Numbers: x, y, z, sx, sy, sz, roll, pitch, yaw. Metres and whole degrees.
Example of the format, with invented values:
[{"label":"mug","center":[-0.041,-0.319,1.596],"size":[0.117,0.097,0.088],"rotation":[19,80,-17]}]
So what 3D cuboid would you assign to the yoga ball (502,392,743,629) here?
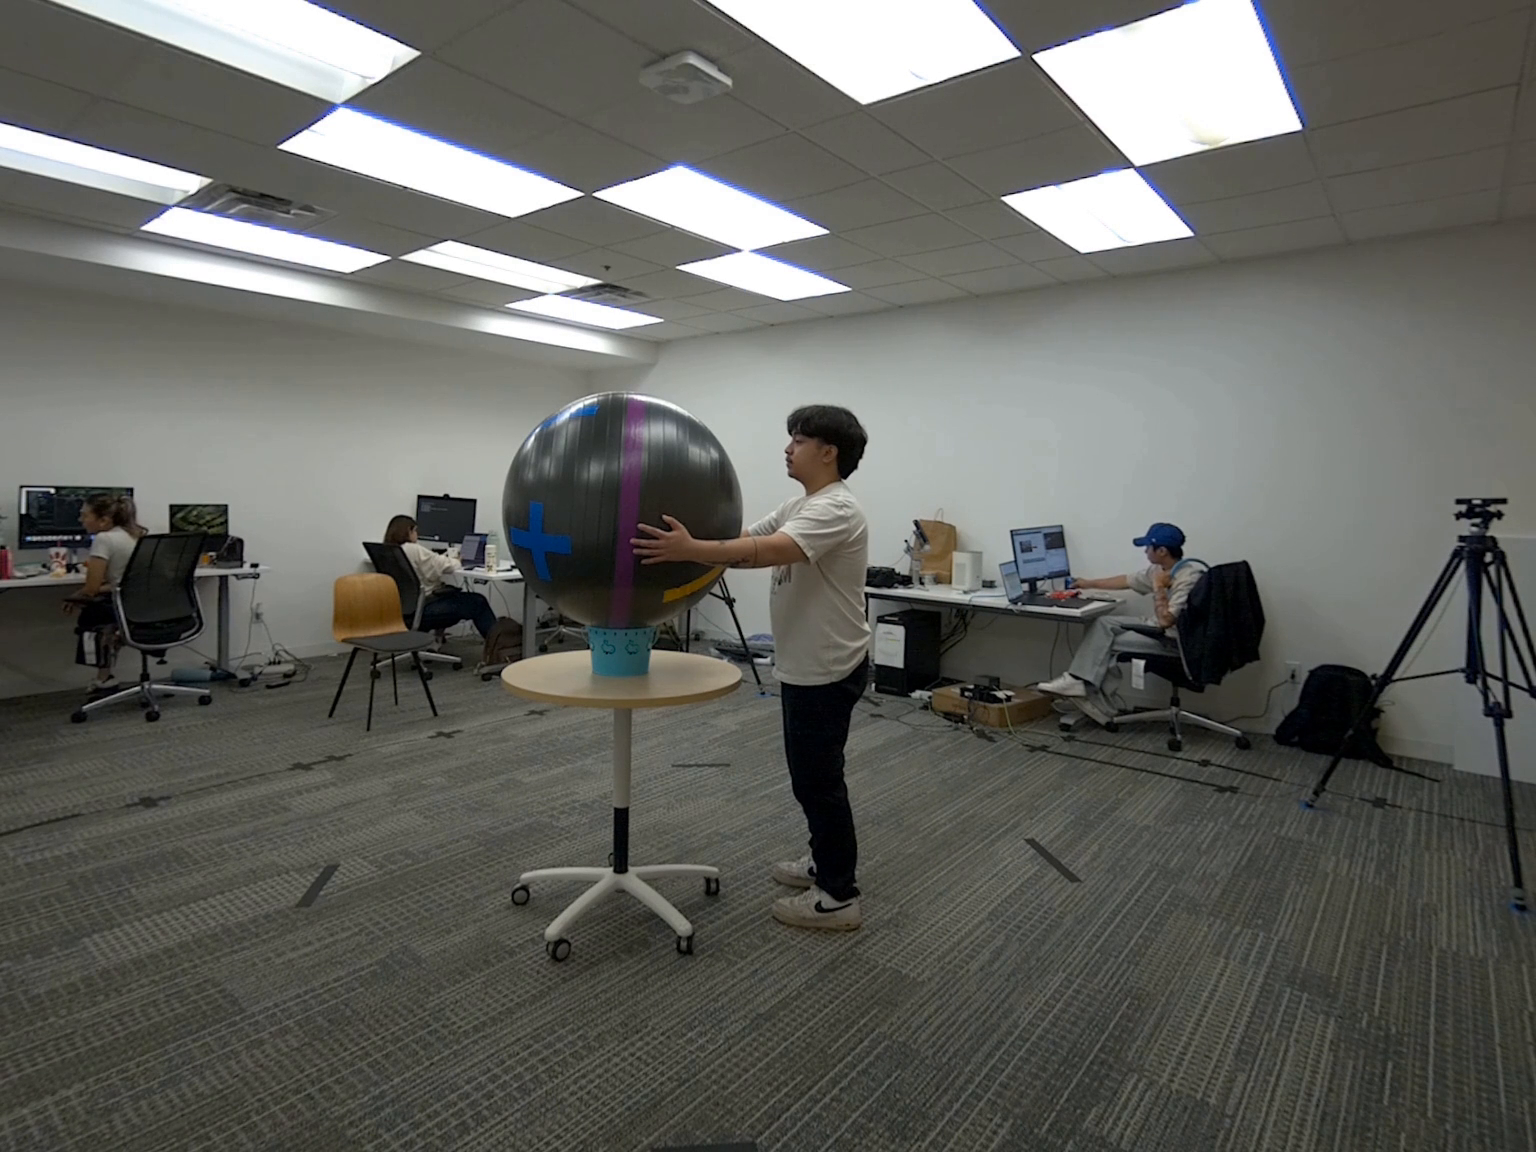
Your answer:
[{"label":"yoga ball","center":[-0.476,-0.205,2.728],"size":[0.757,0.755,0.762],"rotation":[1,4,-2]}]
